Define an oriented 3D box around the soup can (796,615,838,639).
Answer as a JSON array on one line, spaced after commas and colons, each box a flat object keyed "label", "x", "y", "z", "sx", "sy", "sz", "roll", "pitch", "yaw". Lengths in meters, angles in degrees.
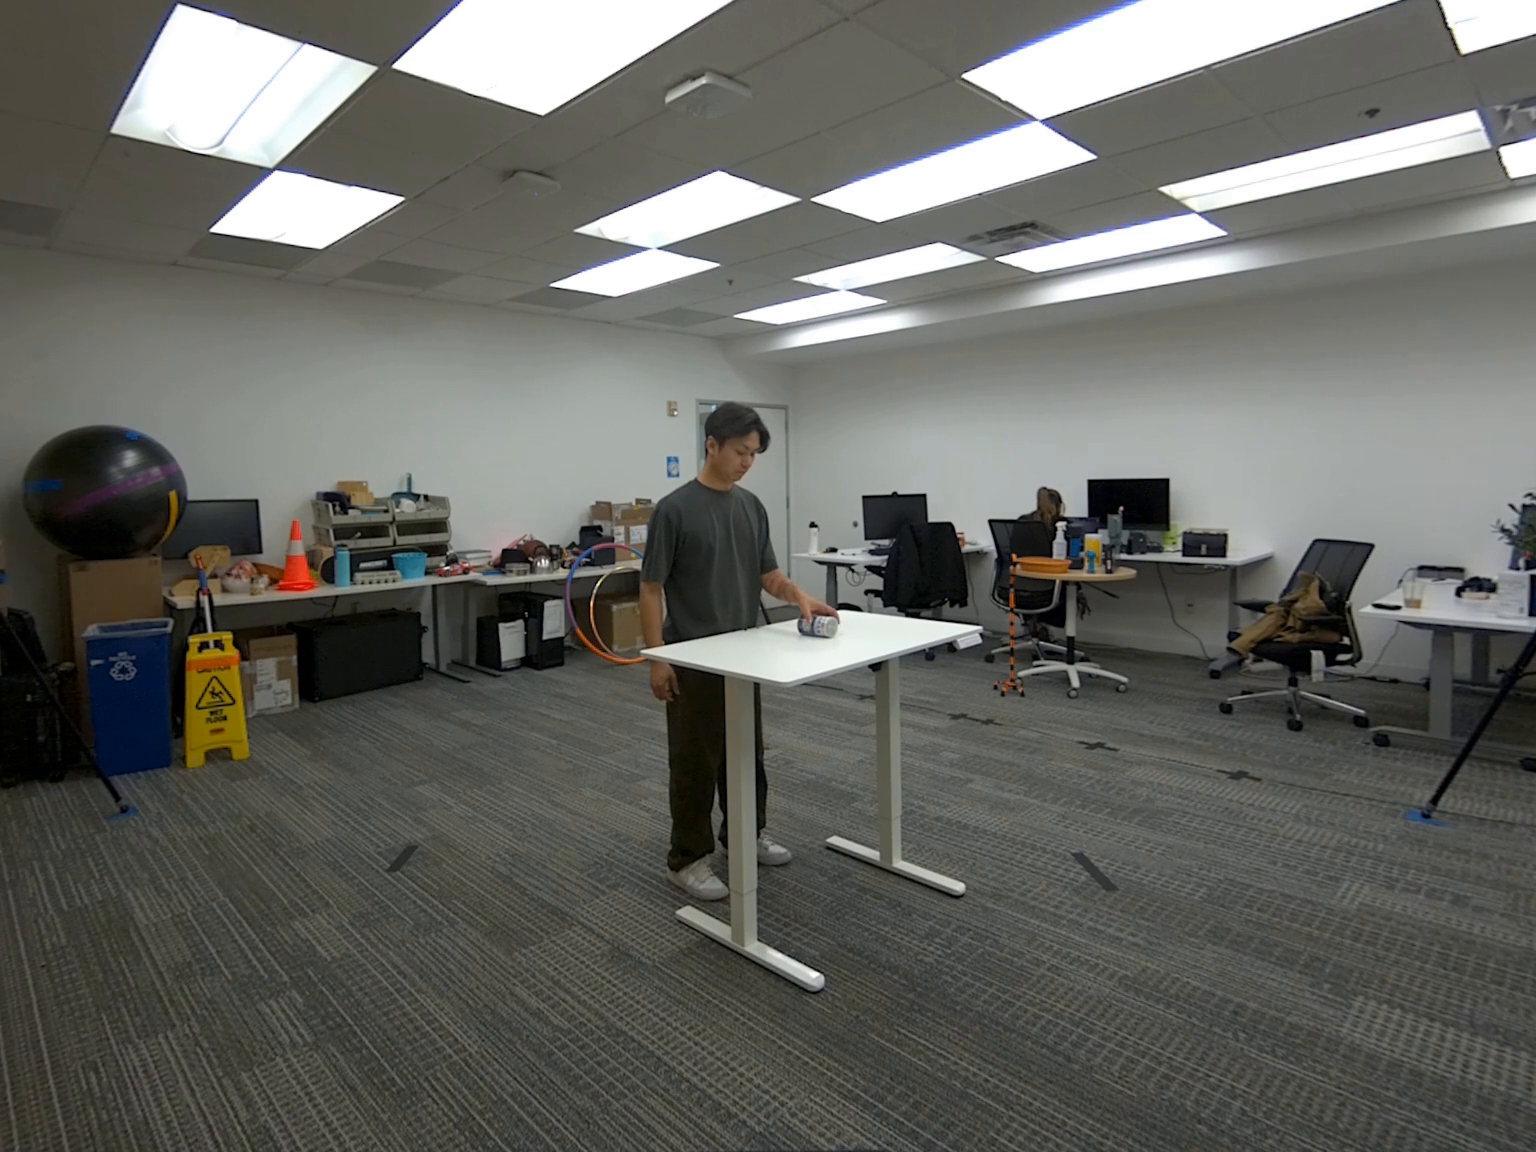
[{"label": "soup can", "x": 0.156, "y": 0.158, "z": 2.778, "sx": 0.125, "sy": 0.067, "sz": 0.065, "roll": 2, "pitch": 6, "yaw": 40}]
